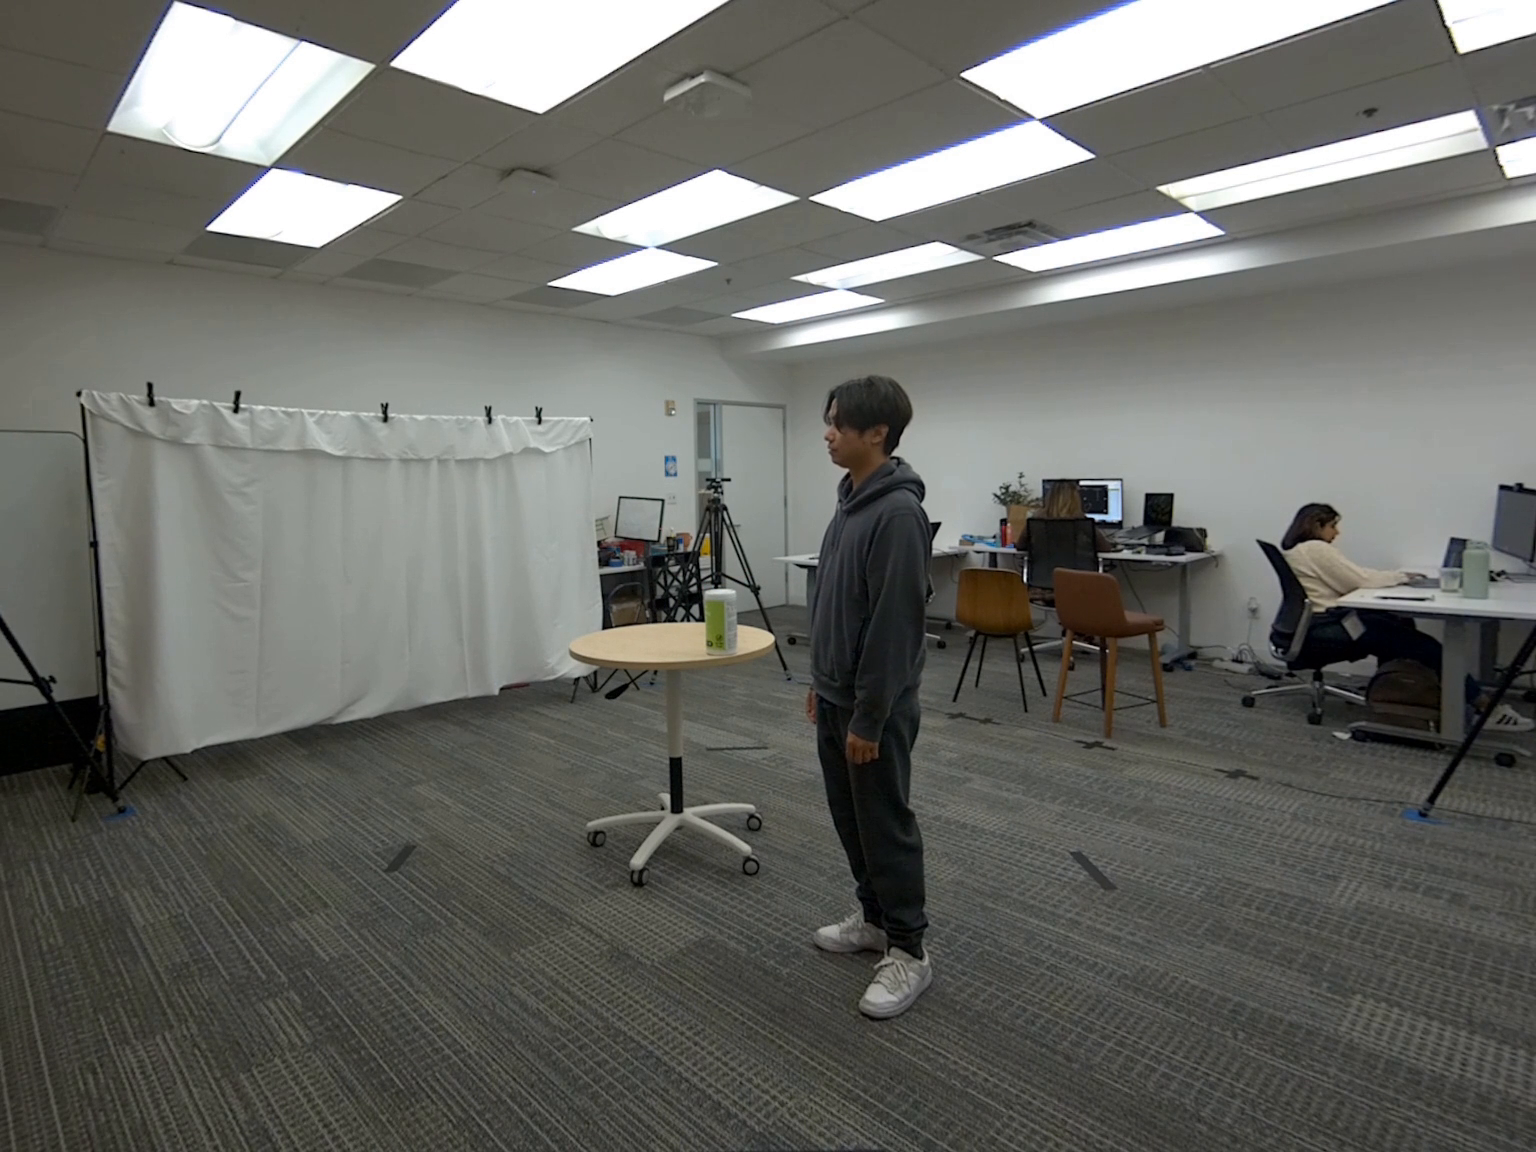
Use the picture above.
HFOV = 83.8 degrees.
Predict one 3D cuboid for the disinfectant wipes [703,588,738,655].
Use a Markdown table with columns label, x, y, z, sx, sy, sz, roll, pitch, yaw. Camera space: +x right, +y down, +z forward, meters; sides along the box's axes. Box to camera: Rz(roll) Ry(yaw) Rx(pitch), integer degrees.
| label | x | y | z | sx | sy | sz | roll | pitch | yaw |
| --- | --- | --- | --- | --- | --- | --- | --- | --- | --- |
| disinfectant wipes | -0.156 | 0.161 | 2.930 | 0.118 | 0.216 | 0.118 | 0 | 6 | -2 |
